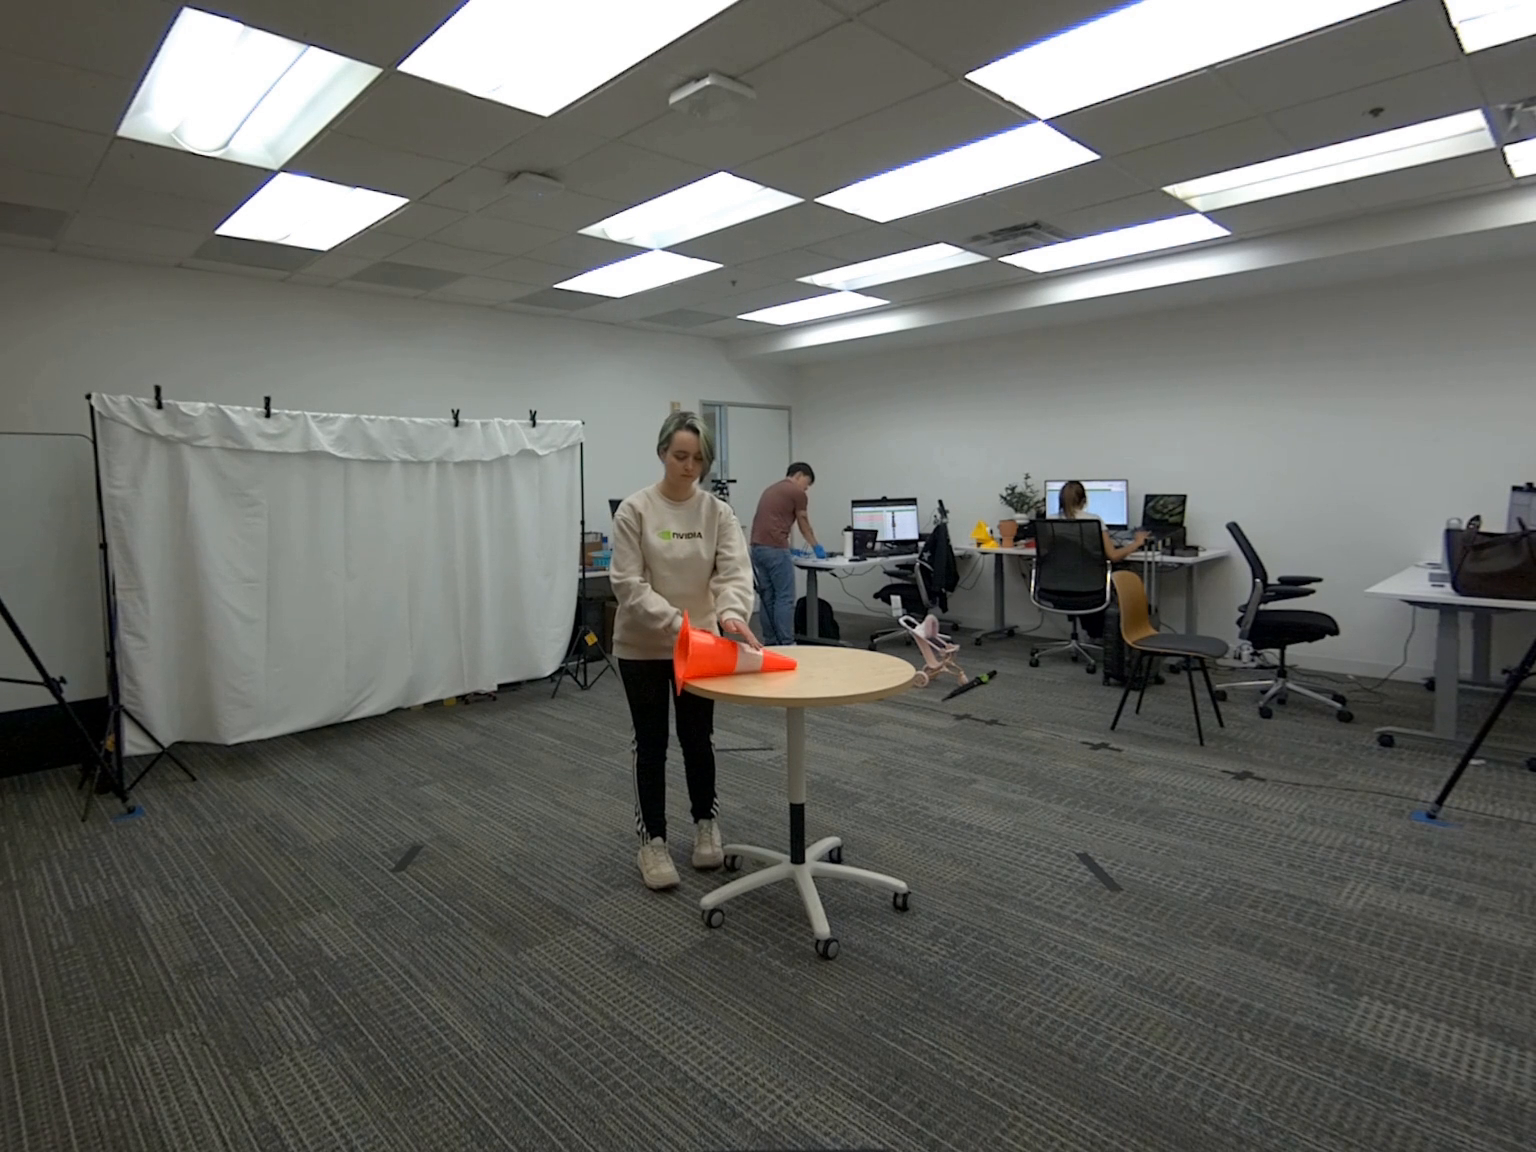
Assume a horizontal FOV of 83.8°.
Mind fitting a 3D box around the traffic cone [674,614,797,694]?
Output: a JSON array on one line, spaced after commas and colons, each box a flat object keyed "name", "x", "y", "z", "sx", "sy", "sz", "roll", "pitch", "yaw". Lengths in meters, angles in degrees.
[{"name": "traffic cone", "x": -0.083, "y": 0.270, "z": 2.705, "sx": 0.377, "sy": 0.202, "sz": 0.210, "roll": 9, "pitch": 38, "yaw": -17}]
